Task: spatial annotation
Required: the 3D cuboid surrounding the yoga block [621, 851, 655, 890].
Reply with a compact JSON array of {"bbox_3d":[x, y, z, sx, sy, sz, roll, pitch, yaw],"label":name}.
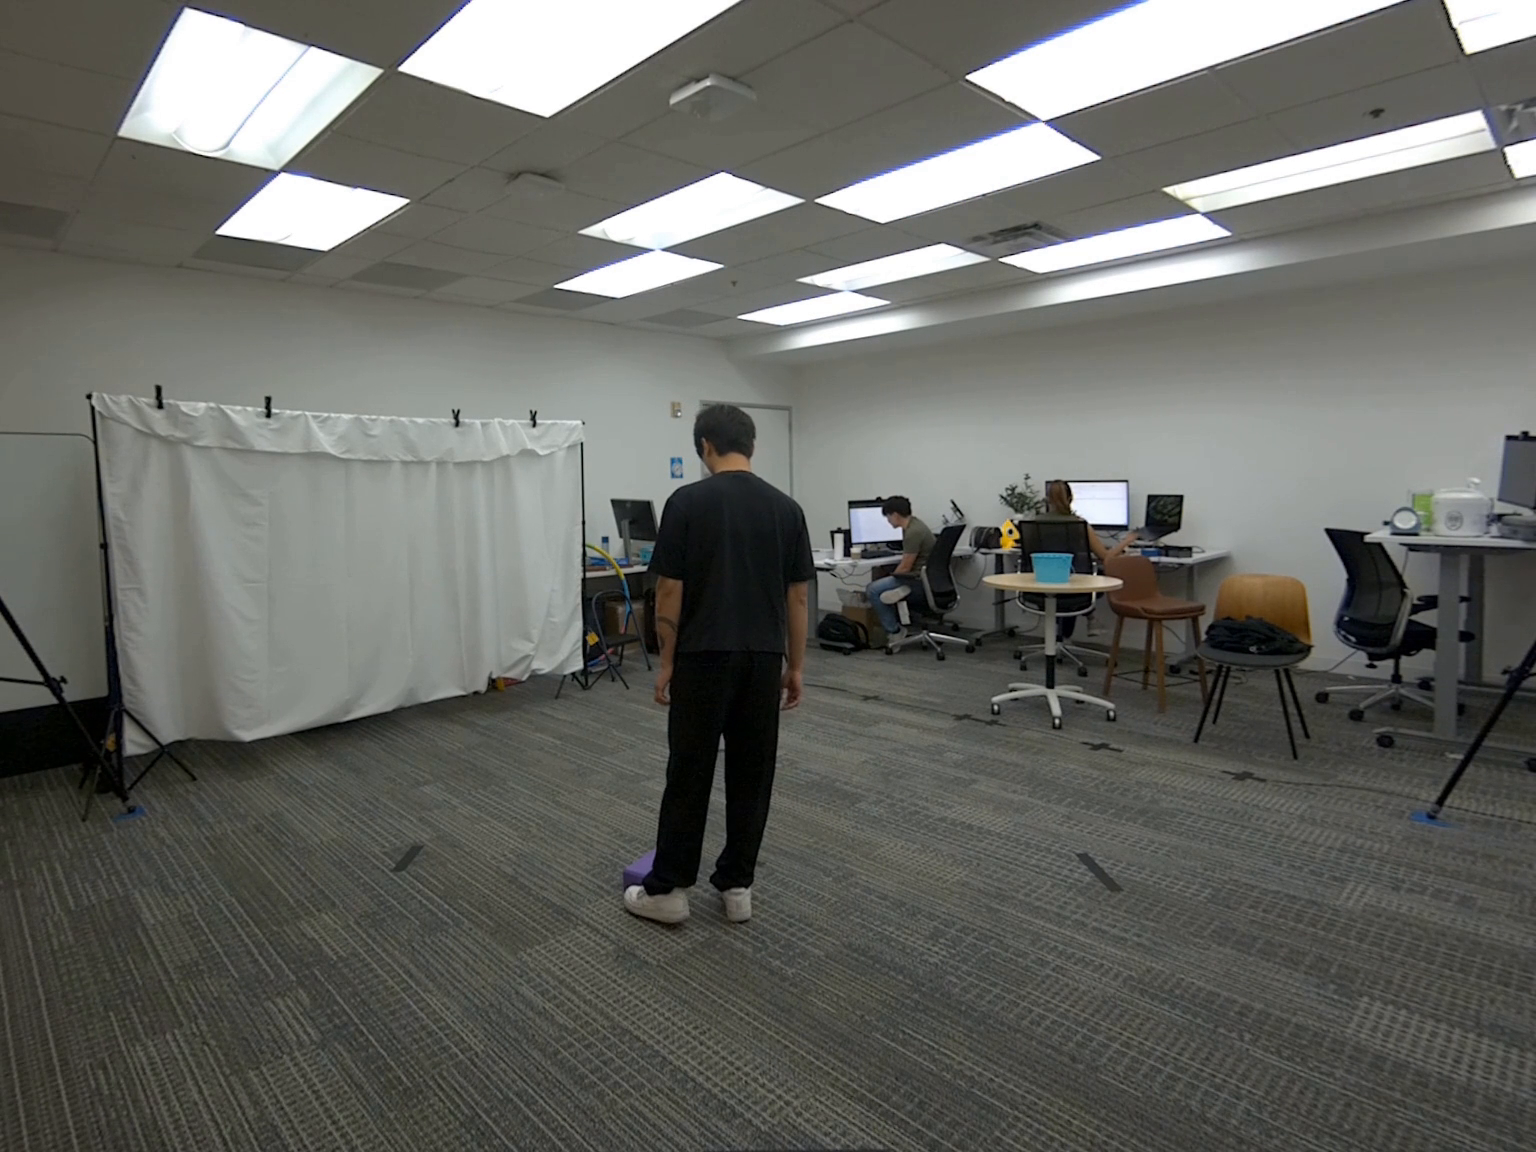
[{"bbox_3d":[-0.372,1.028,2.977,0.153,0.076,0.224,3,8,29],"label":"yoga block"}]
